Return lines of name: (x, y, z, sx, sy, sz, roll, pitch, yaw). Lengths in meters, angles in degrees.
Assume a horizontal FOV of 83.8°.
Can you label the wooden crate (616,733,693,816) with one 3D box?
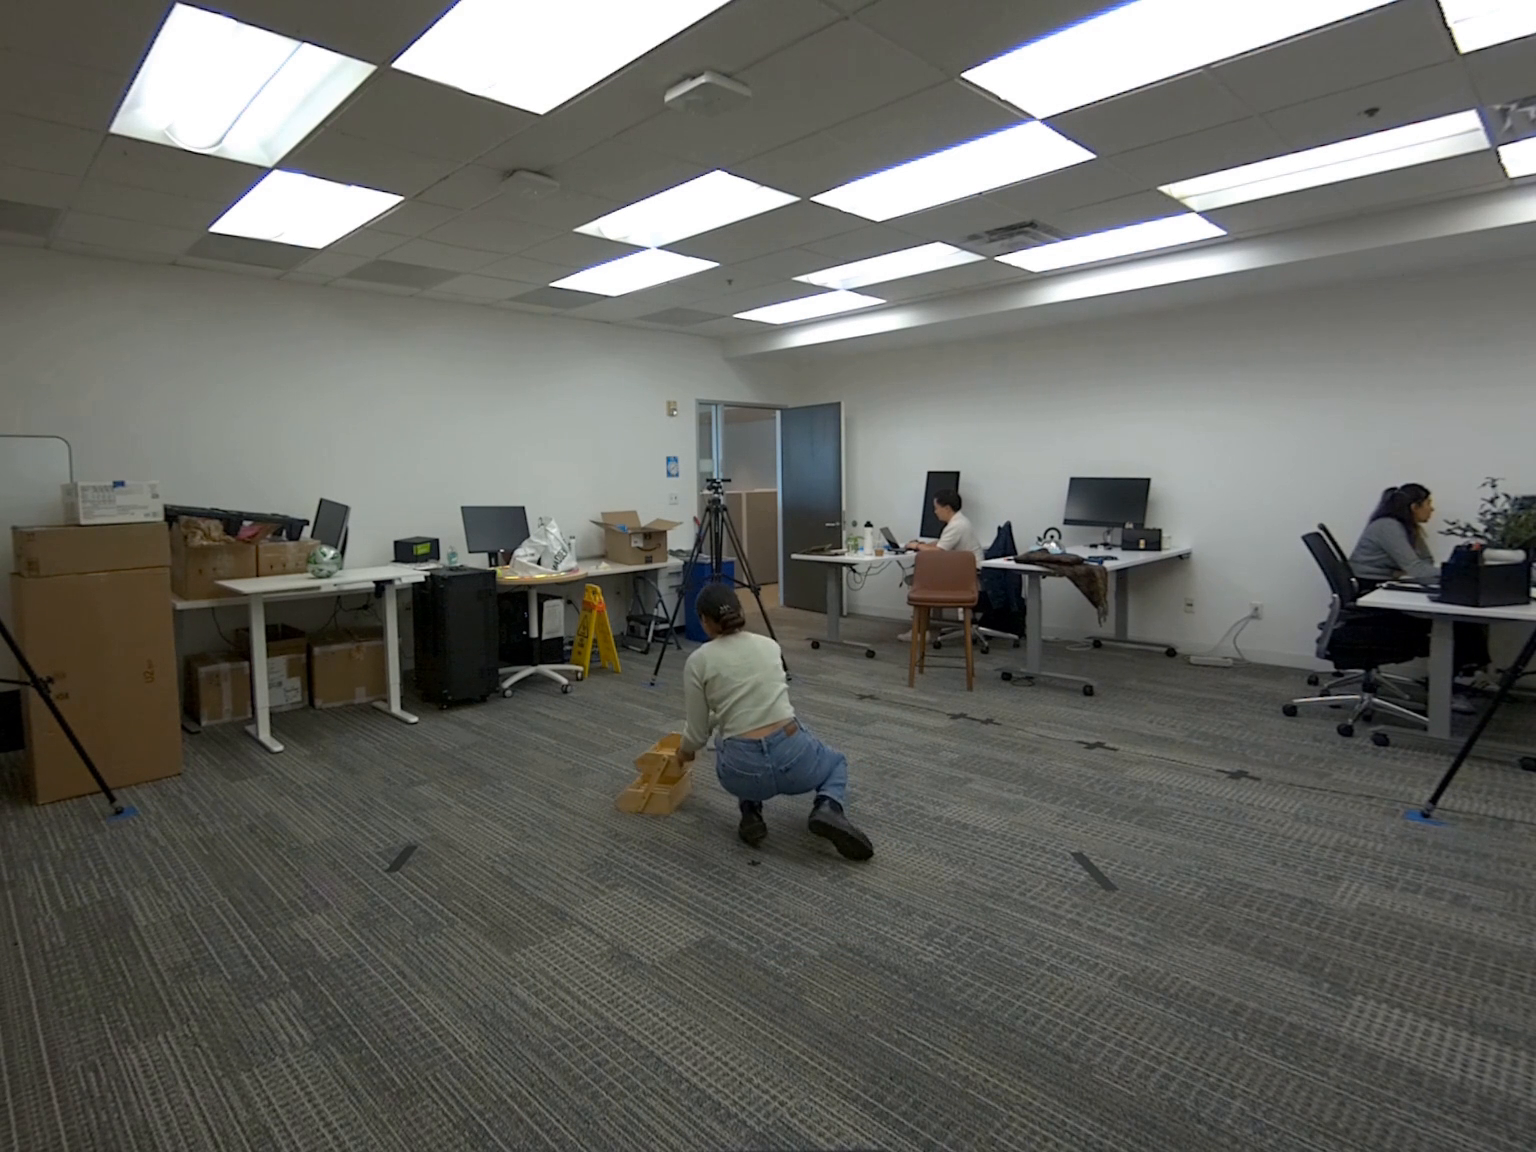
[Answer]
wooden crate: (-0.471, 0.850, 3.729, 0.307, 0.272, 0.321, 1, 5, 15)
